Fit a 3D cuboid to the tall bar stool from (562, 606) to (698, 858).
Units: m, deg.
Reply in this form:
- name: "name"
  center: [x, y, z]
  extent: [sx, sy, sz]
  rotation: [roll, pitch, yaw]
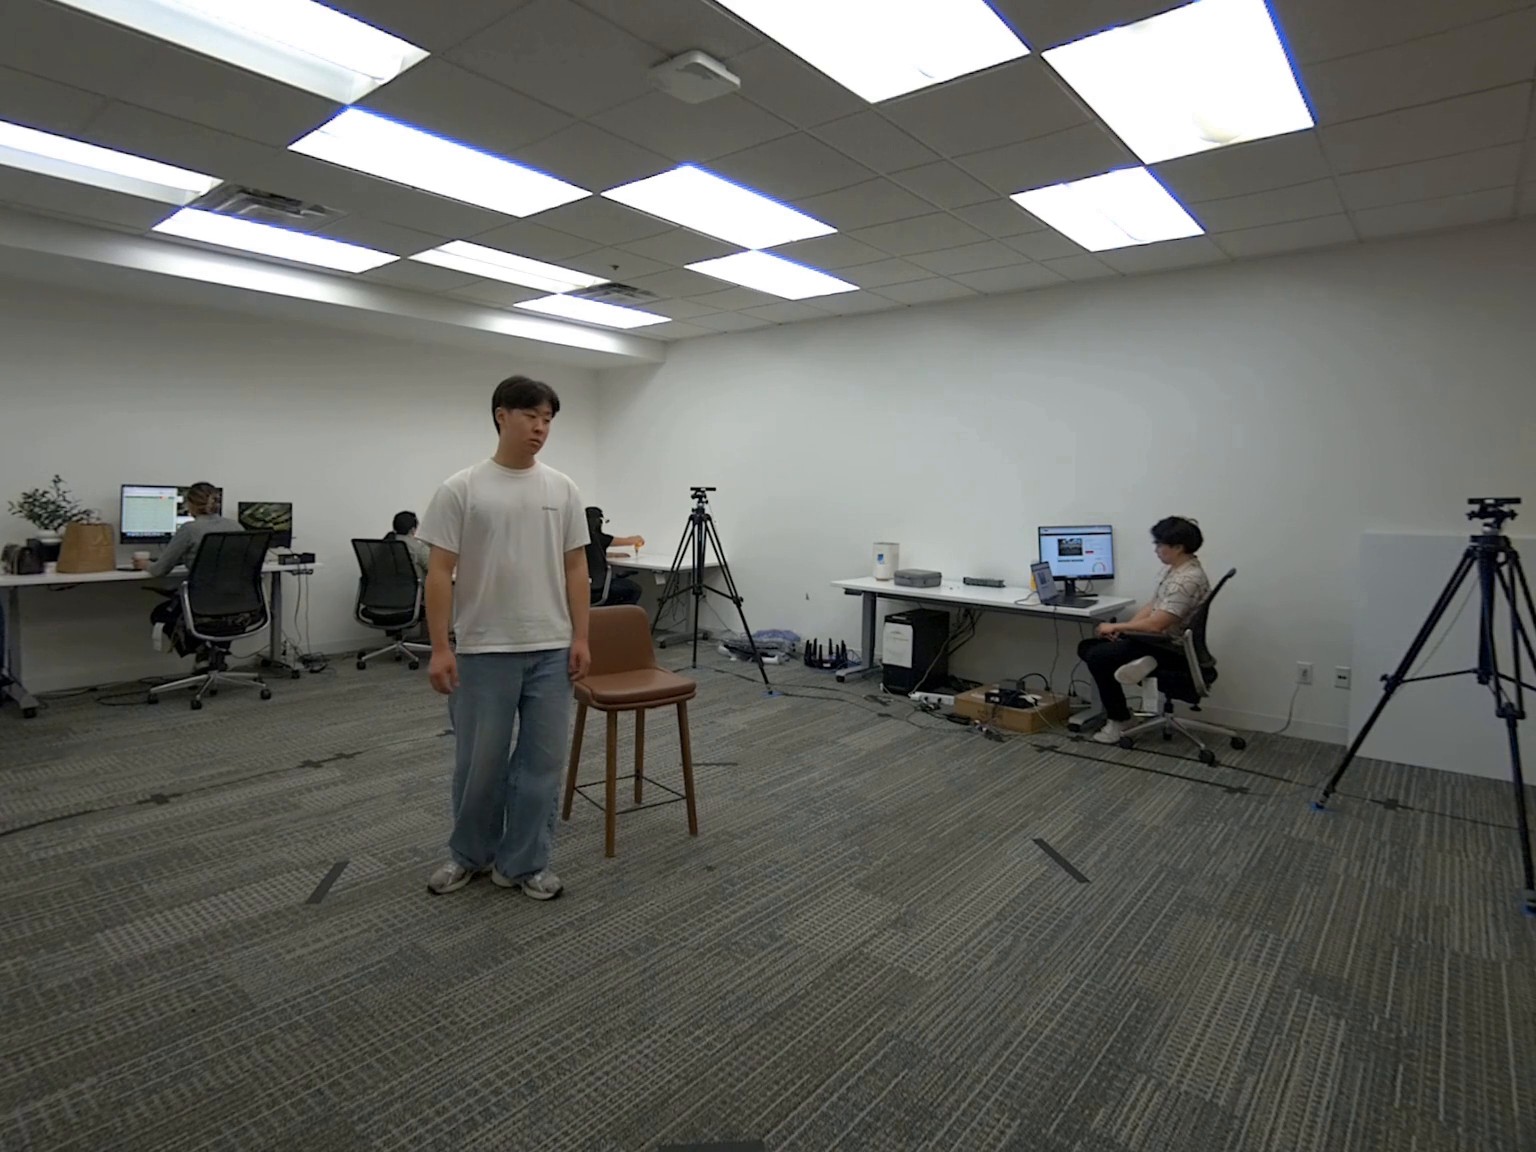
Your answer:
- name: "tall bar stool"
  center: [-0.585, 0.588, 3.464]
  extent: [0.443, 0.889, 0.482]
  rotation: [-1, 2, -38]
